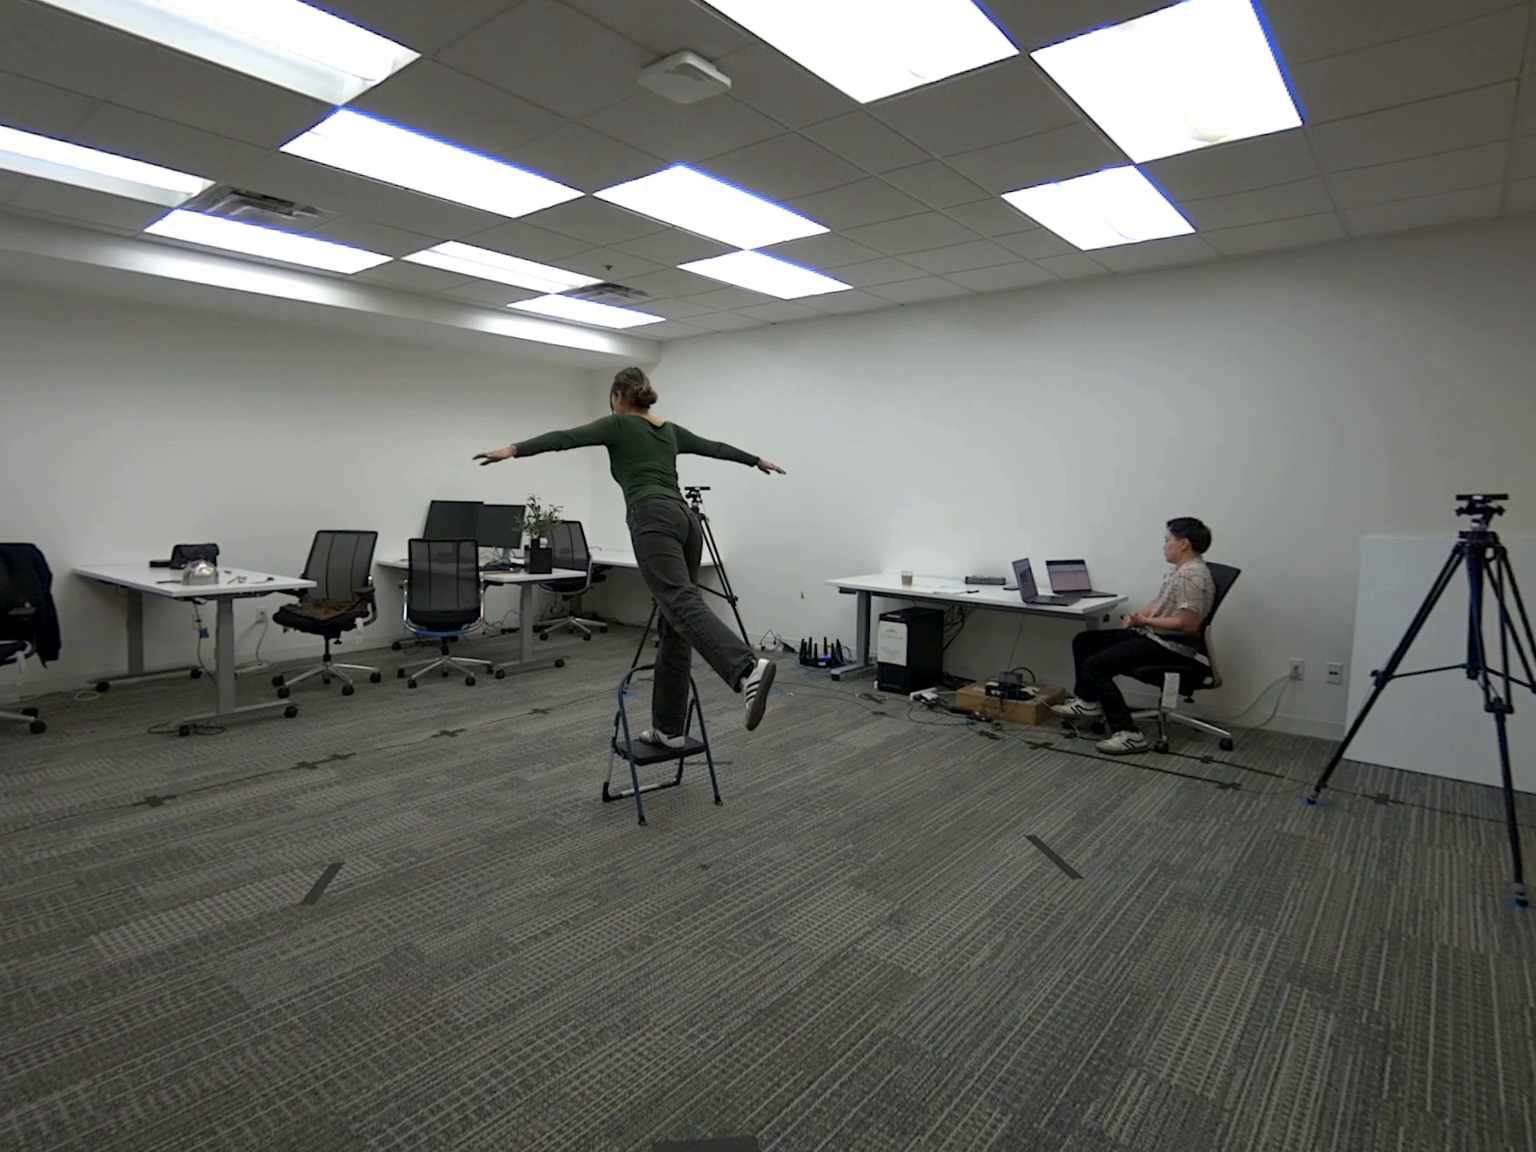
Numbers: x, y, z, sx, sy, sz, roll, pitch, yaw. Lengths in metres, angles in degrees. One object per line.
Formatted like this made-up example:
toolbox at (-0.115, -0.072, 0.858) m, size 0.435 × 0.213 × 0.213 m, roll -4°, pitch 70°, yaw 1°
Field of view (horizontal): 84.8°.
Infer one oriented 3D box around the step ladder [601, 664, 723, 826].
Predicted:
step ladder at (-0.477, 0.698, 3.740) m, size 0.417 × 0.604 × 0.361 m, roll -2°, pitch 4°, yaw -40°
